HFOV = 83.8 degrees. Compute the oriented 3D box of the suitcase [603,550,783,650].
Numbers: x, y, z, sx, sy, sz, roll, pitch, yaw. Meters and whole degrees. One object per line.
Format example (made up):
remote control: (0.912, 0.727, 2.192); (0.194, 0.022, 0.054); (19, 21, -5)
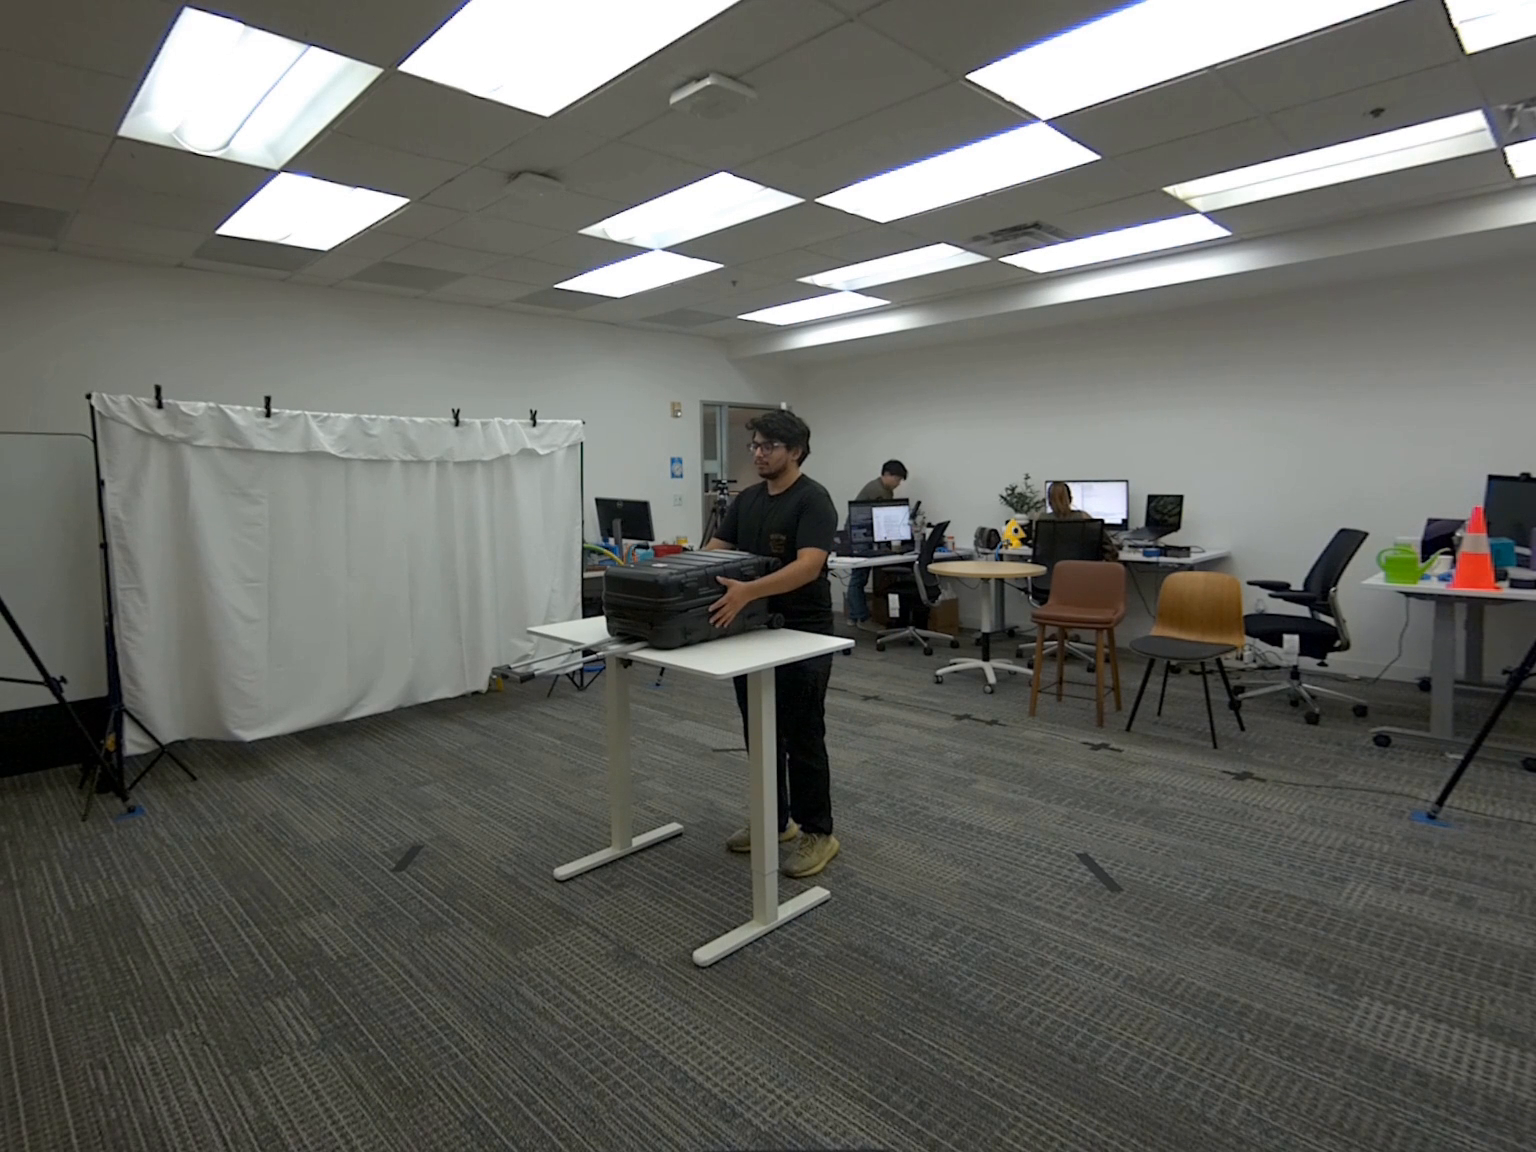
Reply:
suitcase: (-0.407, 0.098, 2.726); (0.954, 0.255, 0.396); (-9, 11, -43)
